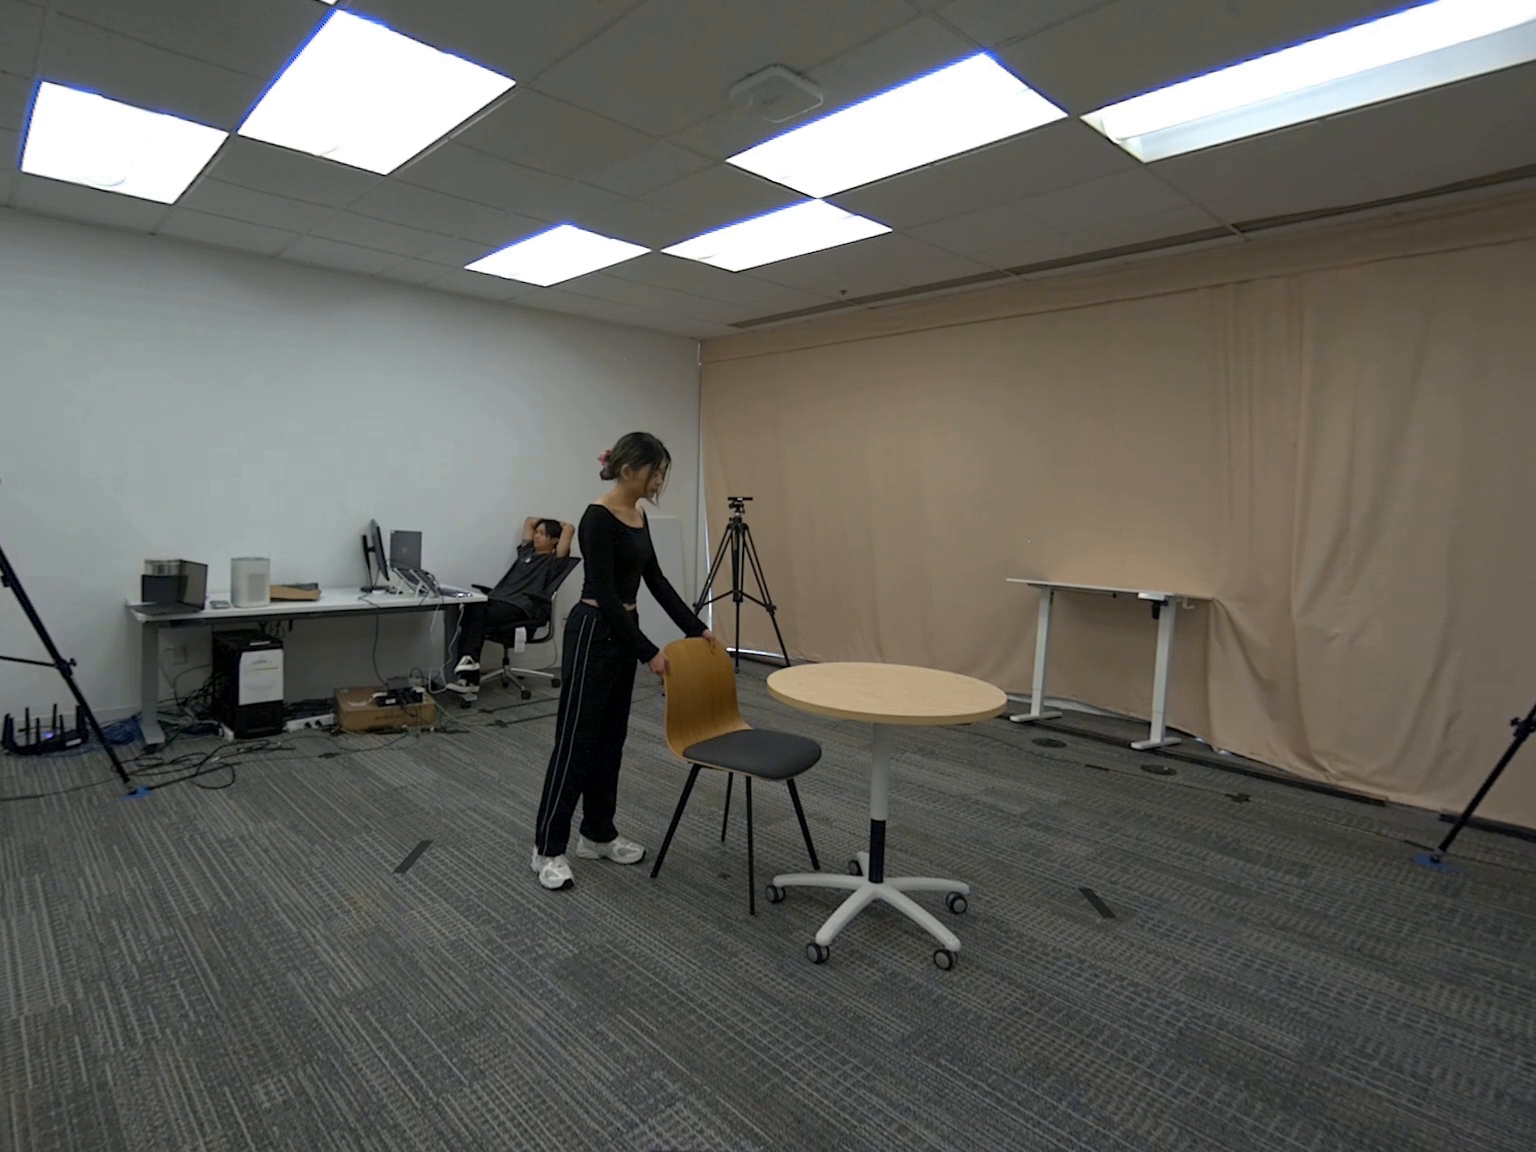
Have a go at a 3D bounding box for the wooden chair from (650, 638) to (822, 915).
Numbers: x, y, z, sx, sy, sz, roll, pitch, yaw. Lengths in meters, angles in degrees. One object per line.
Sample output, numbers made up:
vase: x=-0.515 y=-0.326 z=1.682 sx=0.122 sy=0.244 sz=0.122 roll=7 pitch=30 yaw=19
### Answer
wooden chair: x=-0.106 y=0.680 z=3.089 sx=0.534 sy=0.877 sz=0.468 roll=-1 pitch=1 yaw=35
